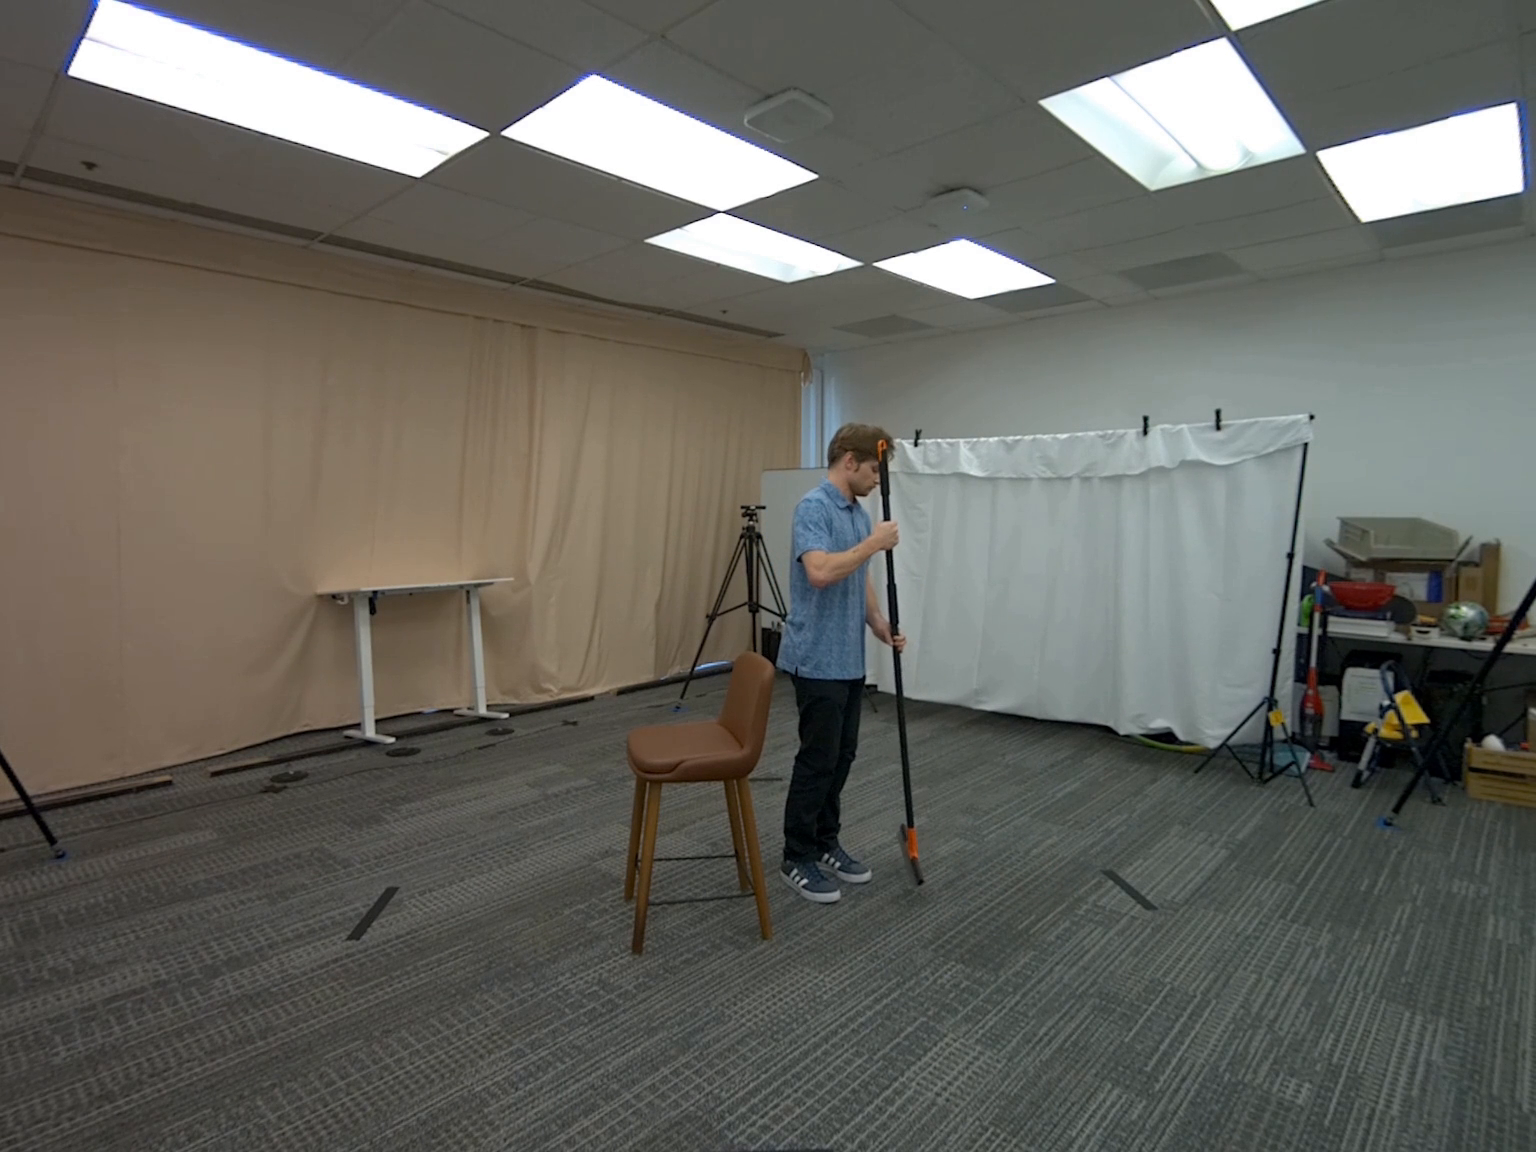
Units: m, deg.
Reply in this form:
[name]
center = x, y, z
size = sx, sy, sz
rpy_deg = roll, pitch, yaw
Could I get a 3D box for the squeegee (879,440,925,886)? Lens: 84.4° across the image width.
[squeegee]
center = 0.494, 0.317, 3.023
size = 0.053, 1.530, 0.436
rpy_deg = -2, 7, 5
